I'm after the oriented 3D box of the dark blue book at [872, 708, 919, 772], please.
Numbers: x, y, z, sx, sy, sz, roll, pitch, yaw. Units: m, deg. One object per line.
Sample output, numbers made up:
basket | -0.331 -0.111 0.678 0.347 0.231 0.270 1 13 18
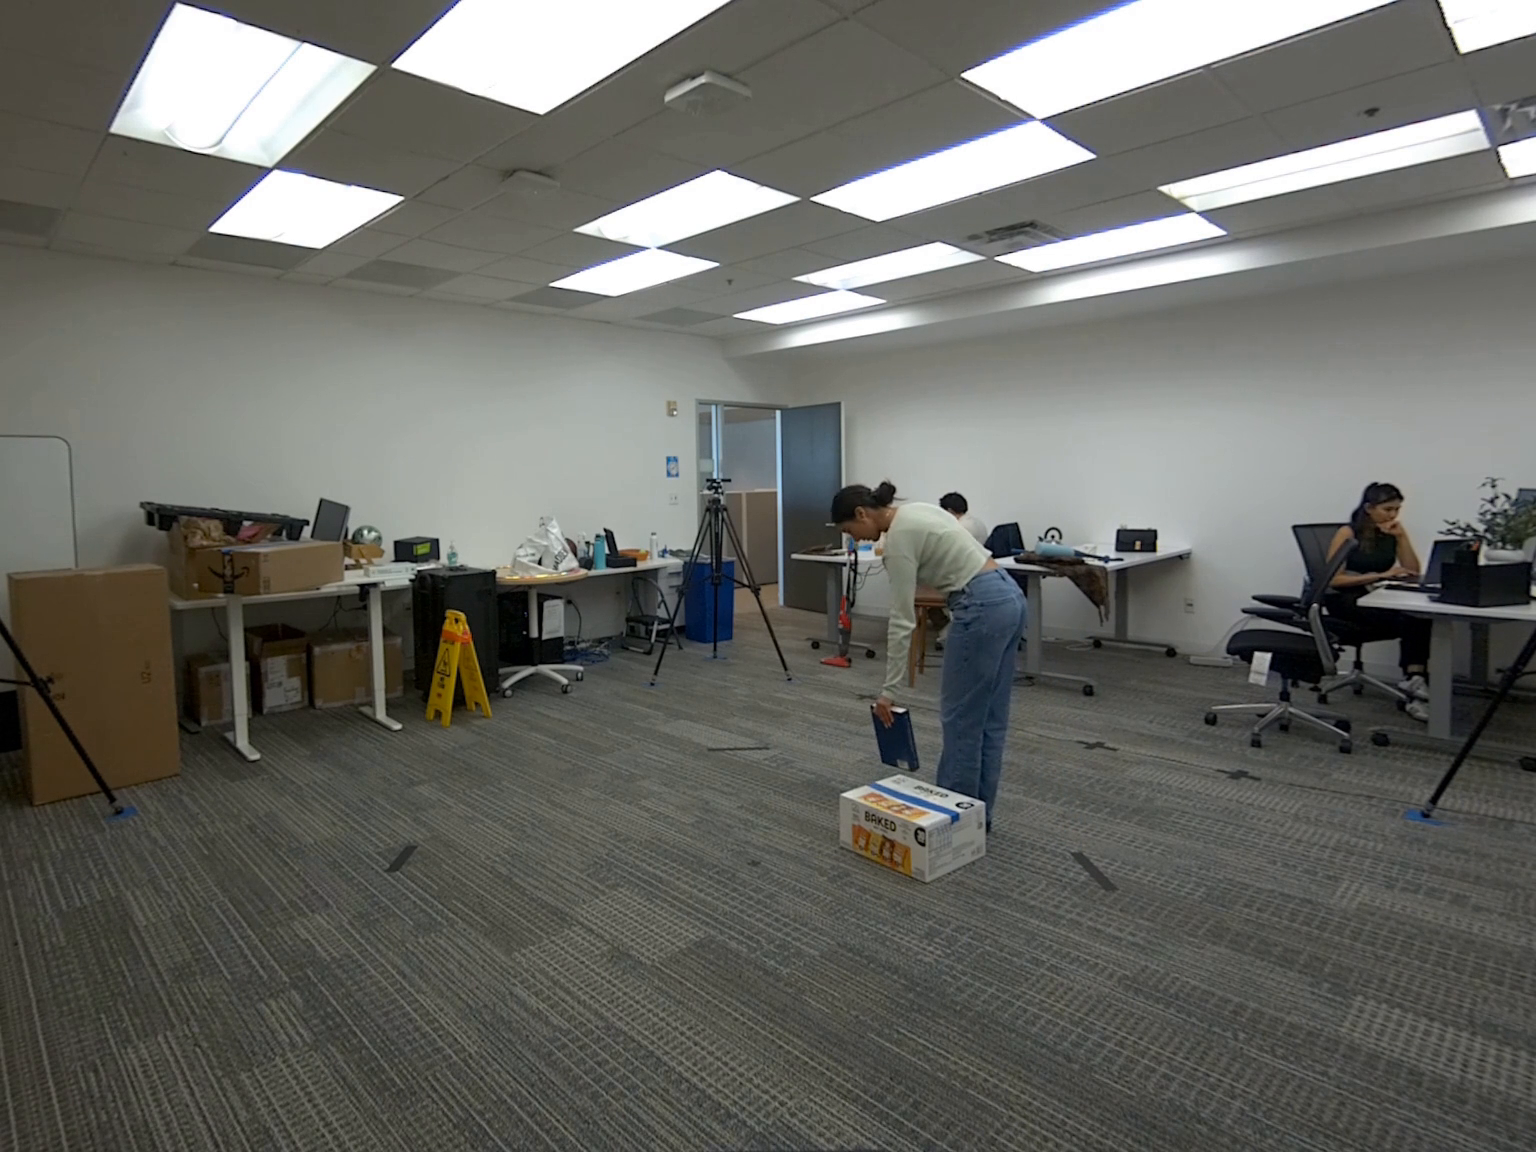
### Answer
dark blue book | 0.483 0.605 3.239 0.044 0.242 0.168 -19 14 -35
